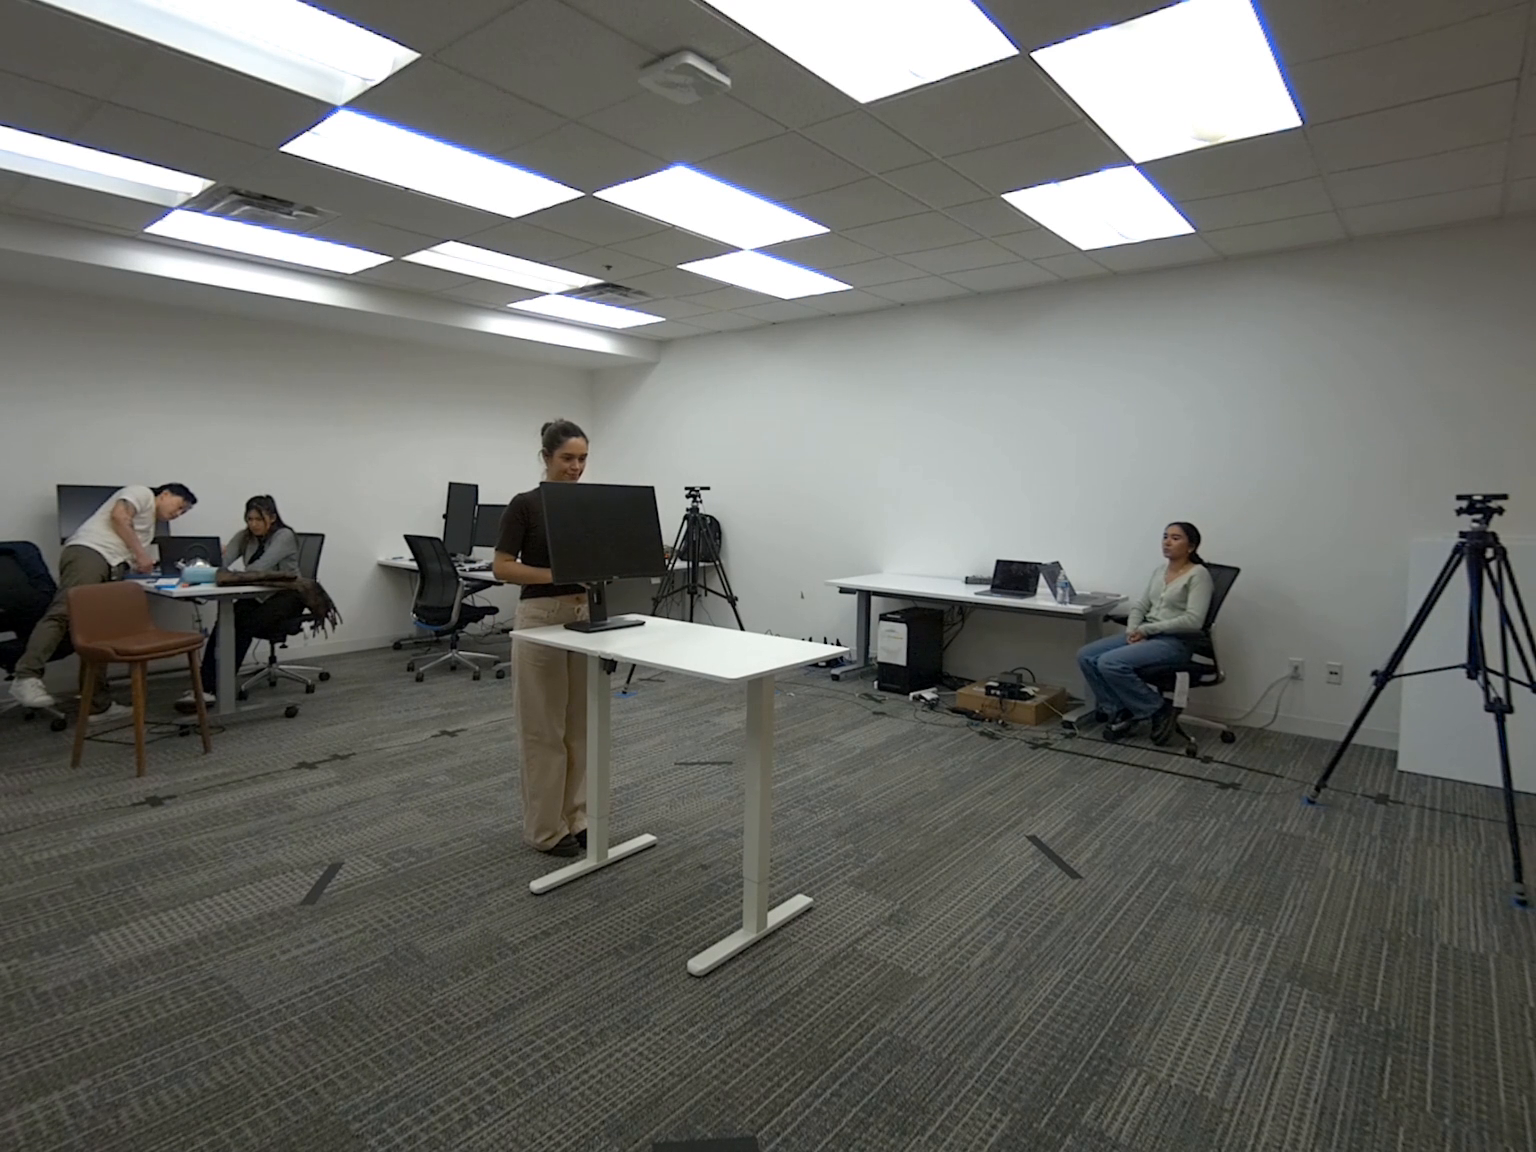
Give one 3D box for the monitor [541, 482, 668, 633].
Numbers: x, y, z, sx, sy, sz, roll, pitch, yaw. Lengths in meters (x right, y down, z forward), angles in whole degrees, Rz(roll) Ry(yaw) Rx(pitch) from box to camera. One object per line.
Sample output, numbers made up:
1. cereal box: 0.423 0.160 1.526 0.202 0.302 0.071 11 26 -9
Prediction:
1. monitor: -0.609 -0.076 3.054 0.180 0.514 0.514 6 5 37
